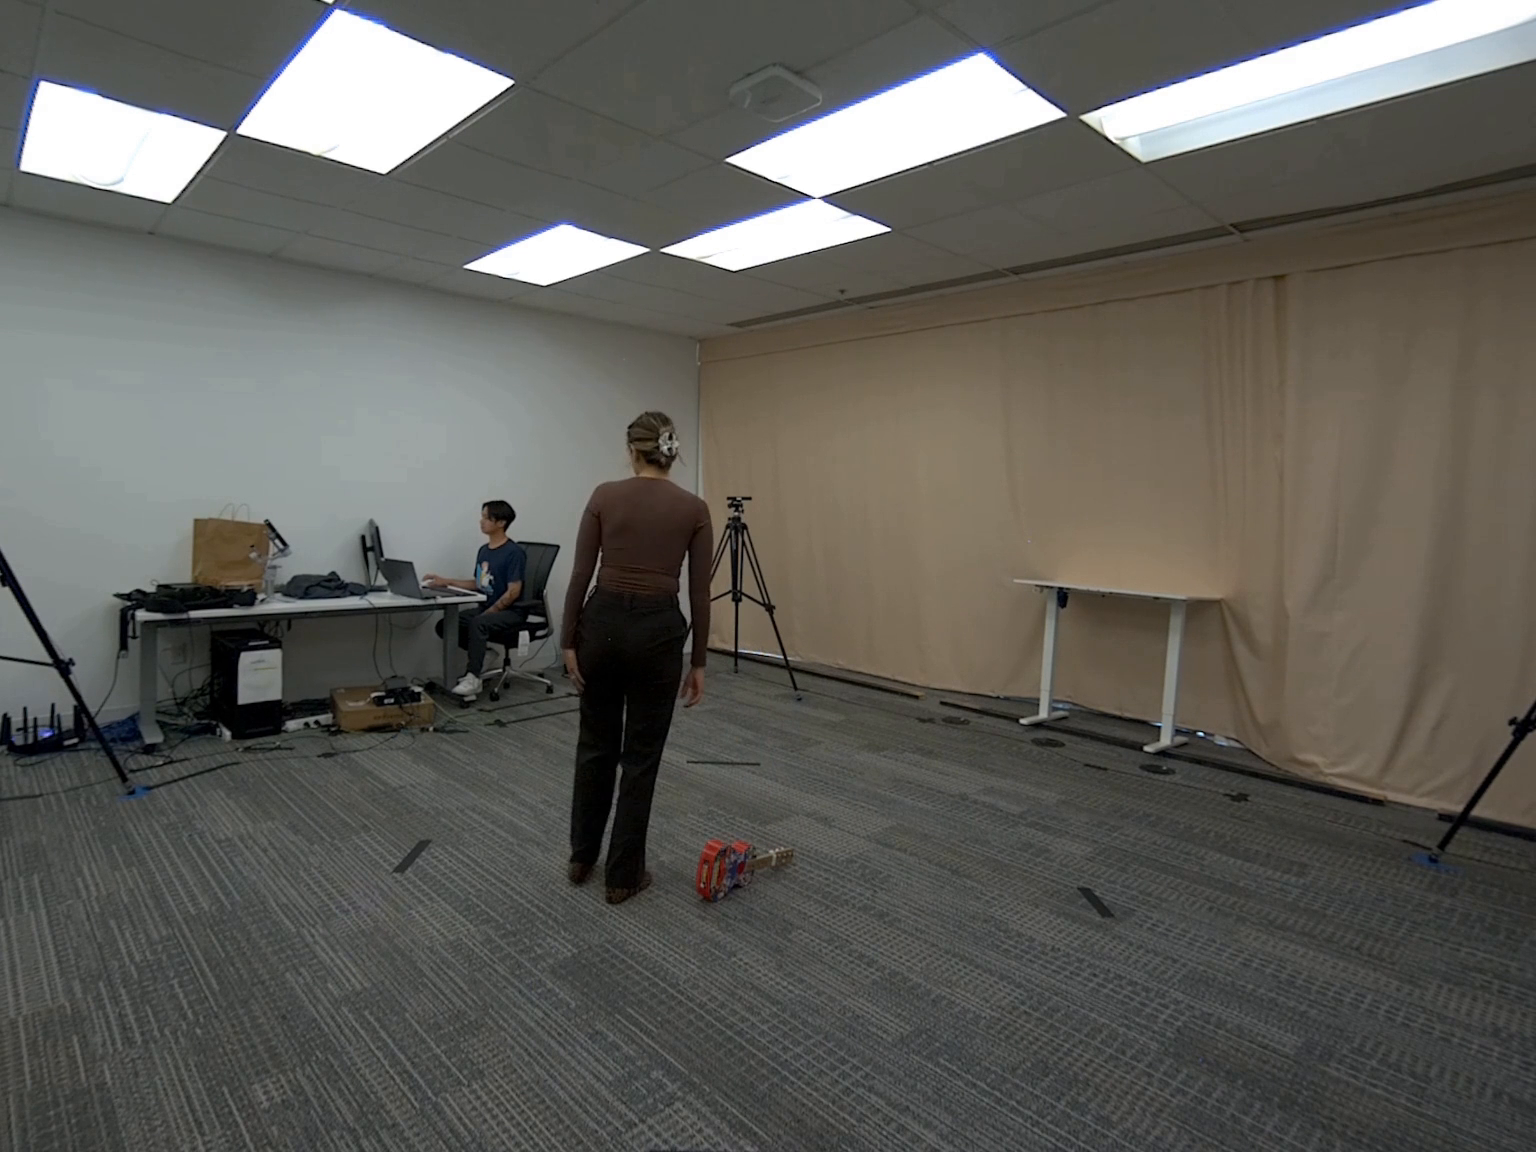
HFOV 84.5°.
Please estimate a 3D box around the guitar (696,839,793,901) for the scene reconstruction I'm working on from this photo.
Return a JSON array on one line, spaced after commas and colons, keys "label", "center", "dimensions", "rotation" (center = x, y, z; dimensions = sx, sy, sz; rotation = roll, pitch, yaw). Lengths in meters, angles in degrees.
[{"label": "guitar", "center": [-0.087, 1.069, 3.057], "dimensions": [0.072, 0.194, 0.483], "rotation": [6, -11, 38]}]
